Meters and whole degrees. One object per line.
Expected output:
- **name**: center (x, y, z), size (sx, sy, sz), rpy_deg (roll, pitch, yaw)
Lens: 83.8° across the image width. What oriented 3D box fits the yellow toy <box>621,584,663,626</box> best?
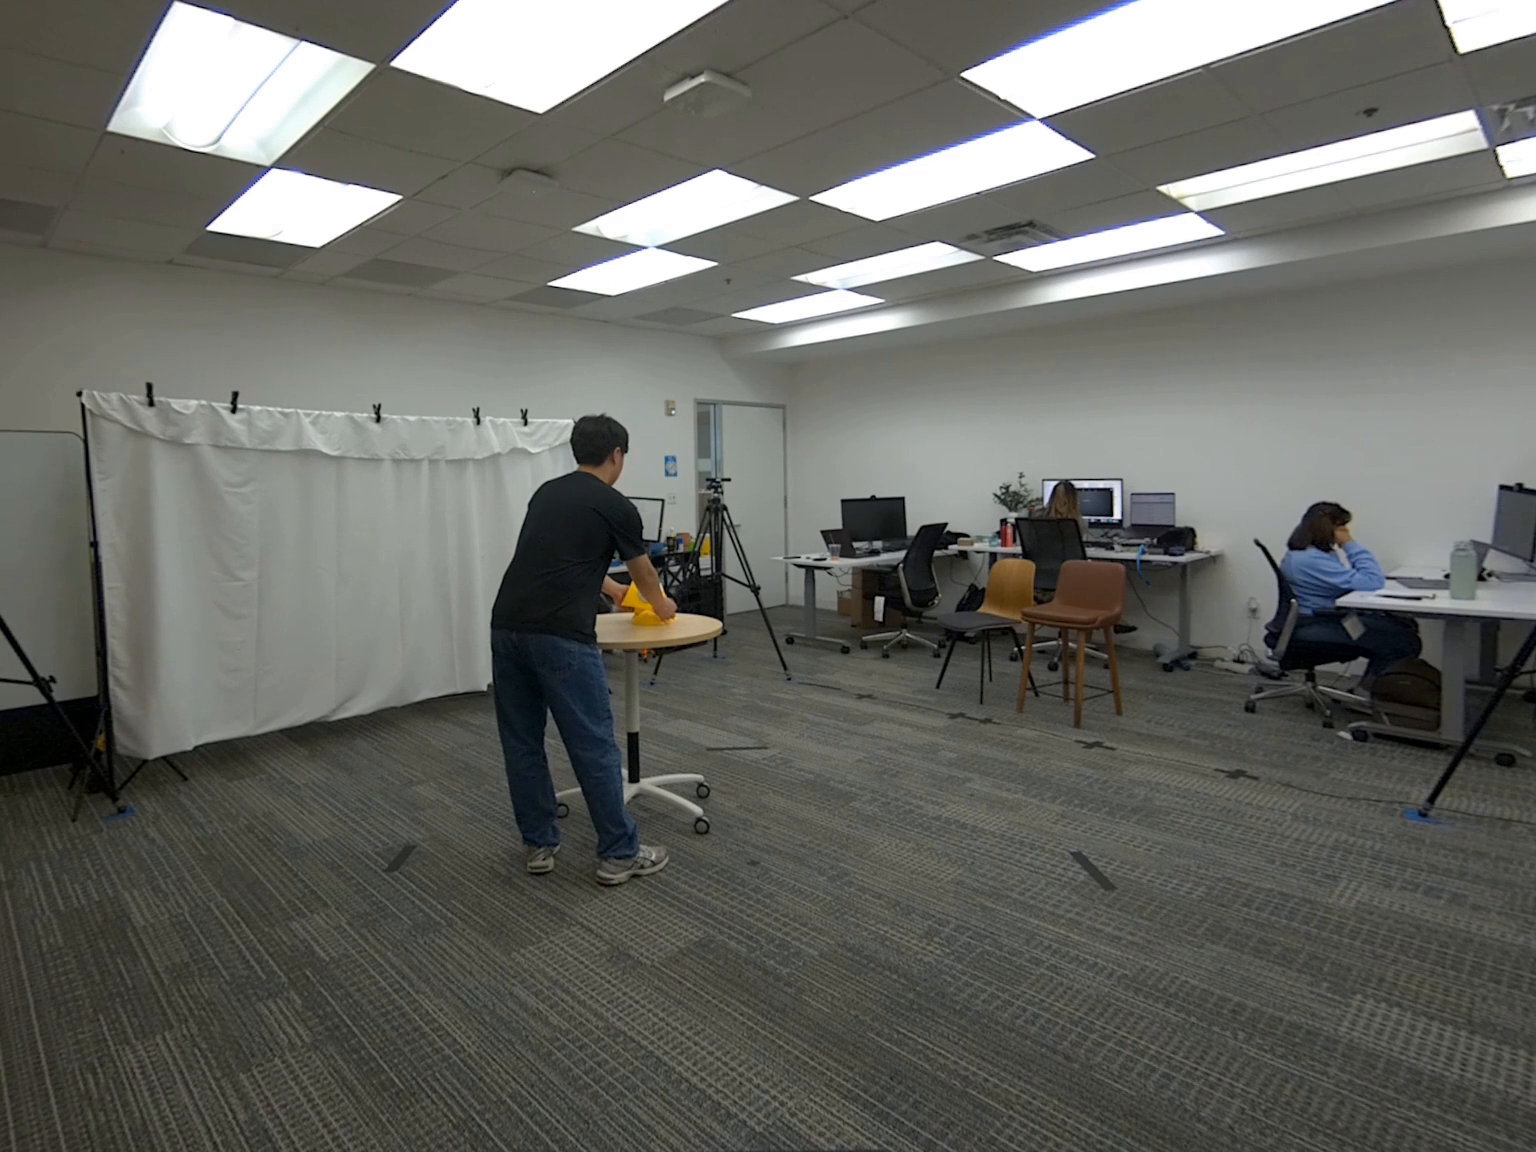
- **yellow toy**: center (-0.502, 0.074, 3.654), size (0.197, 0.230, 0.201), rpy_deg (2, 5, 19)
